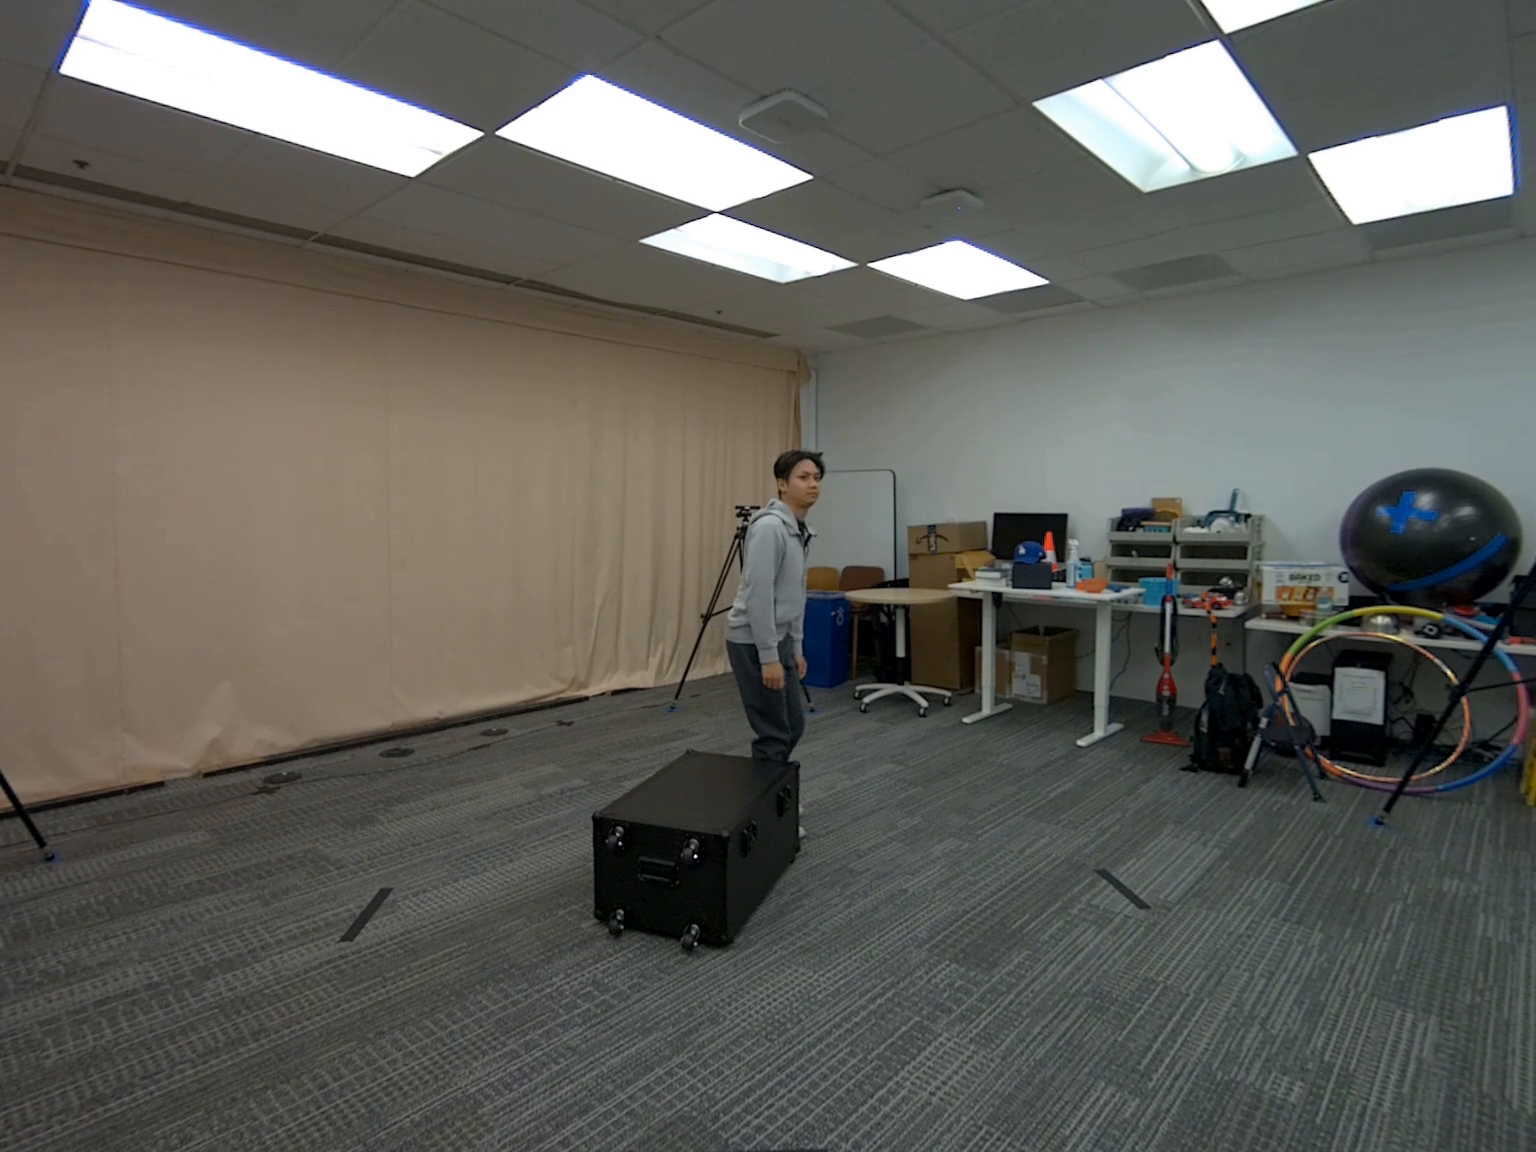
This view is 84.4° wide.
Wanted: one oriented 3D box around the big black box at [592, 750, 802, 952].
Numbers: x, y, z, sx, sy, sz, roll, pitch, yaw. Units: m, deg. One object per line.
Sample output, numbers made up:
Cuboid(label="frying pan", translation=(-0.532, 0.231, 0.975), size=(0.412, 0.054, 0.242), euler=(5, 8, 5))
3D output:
Cuboid(label="big black box", translation=(-0.215, 0.945, 3.087), size=(0.533, 0.395, 0.845), euler=(2, 6, 20))
